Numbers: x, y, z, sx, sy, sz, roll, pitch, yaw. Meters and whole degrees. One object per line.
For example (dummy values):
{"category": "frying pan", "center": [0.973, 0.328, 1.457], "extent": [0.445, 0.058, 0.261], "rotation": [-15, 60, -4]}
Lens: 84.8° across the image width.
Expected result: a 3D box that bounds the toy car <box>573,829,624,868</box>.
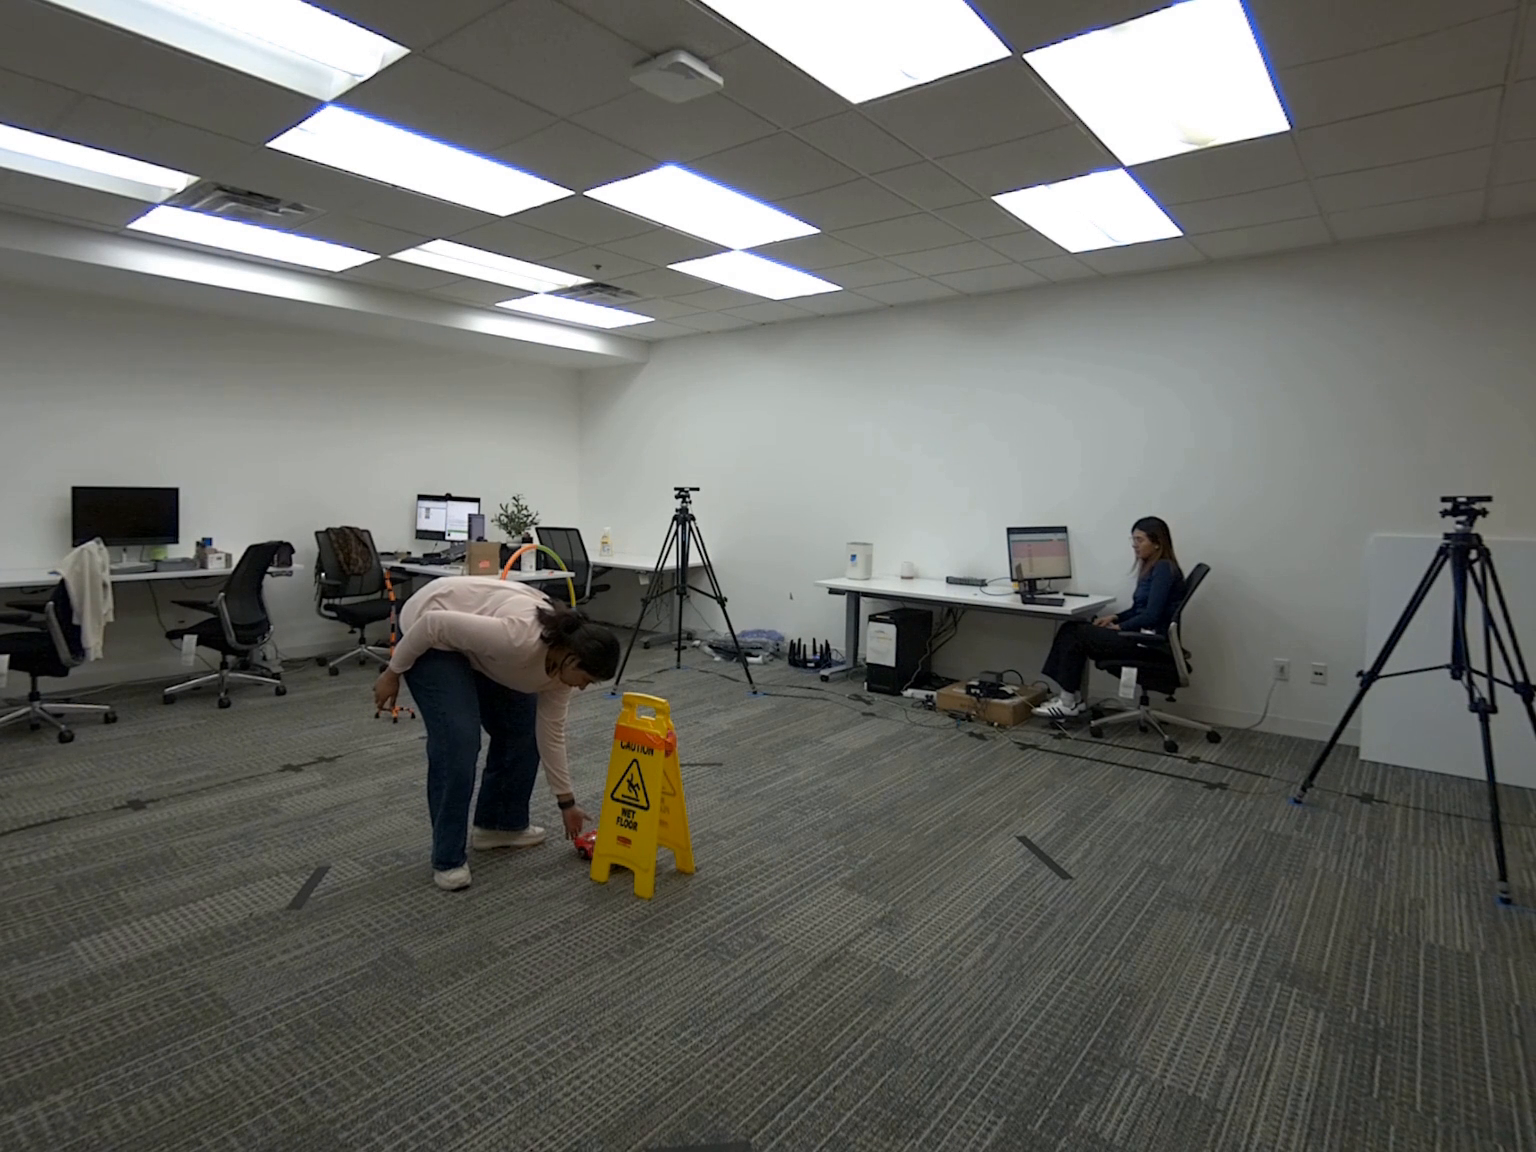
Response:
{"category": "toy car", "center": [-0.629, 1.028, 3.173], "extent": [0.264, 0.082, 0.126], "rotation": [20, 14, 34]}
